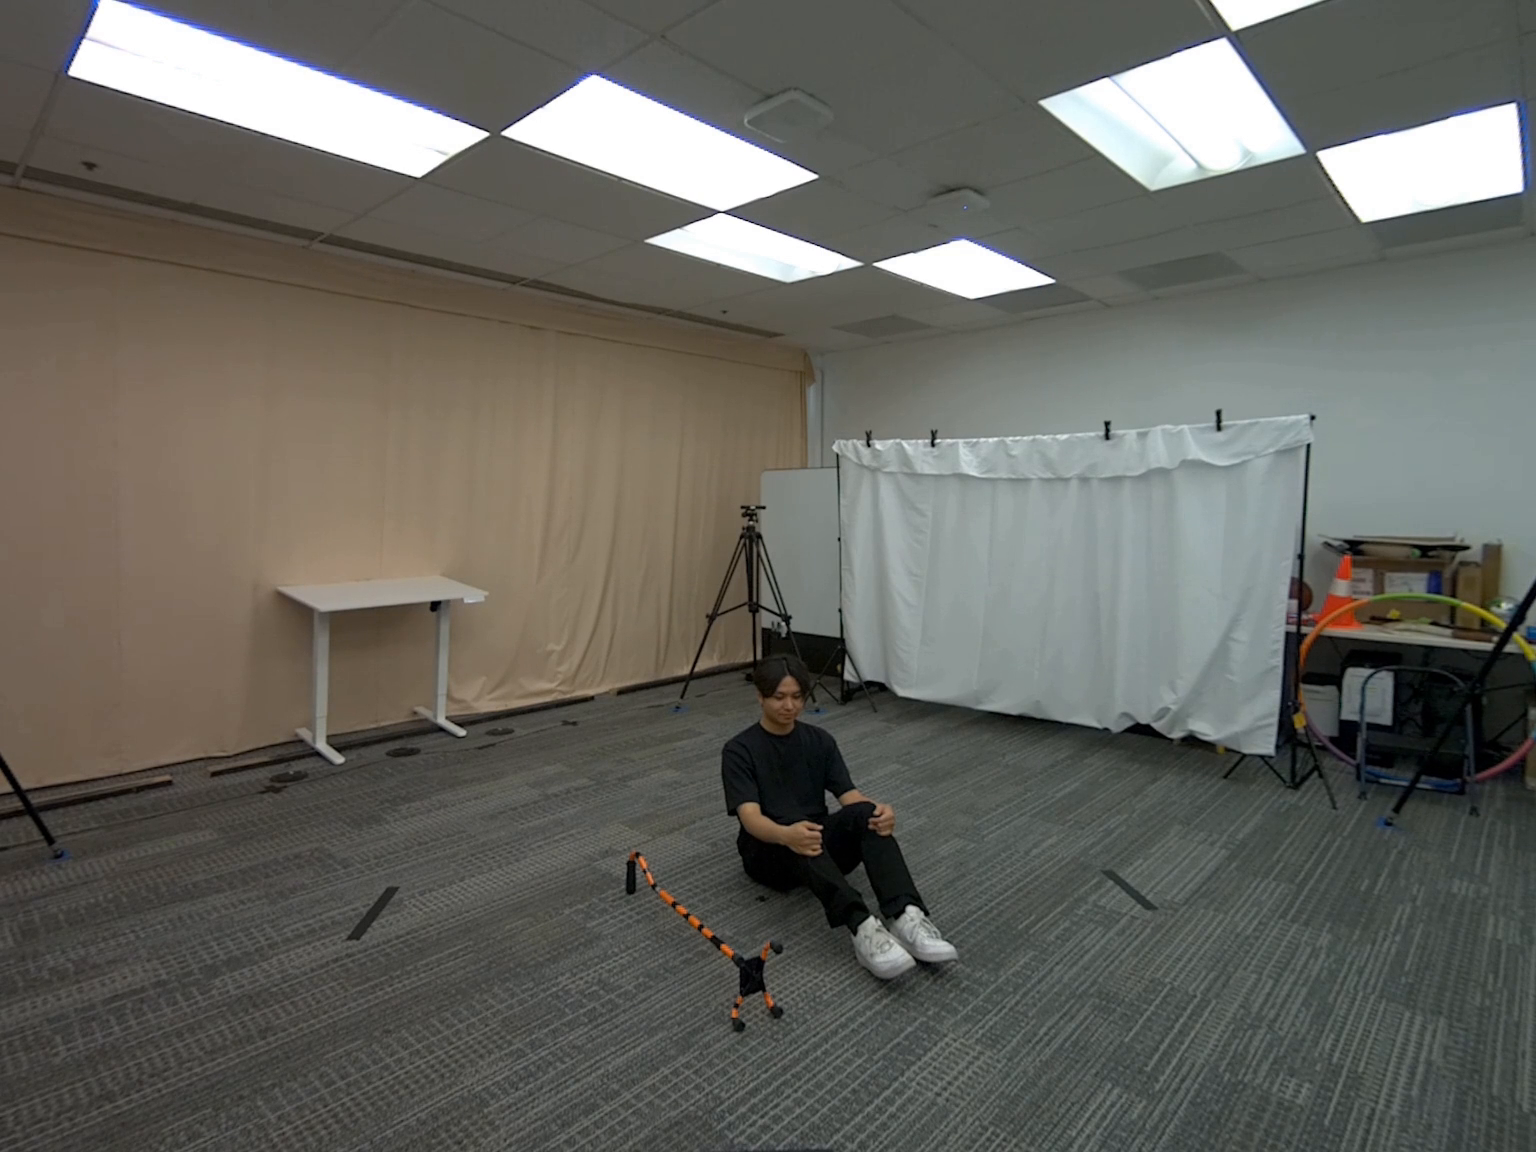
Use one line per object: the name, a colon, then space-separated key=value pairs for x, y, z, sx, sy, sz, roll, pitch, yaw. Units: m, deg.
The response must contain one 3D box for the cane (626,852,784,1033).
cane: x=-0.265 y=1.065 z=2.651 sx=0.147 sy=0.206 sz=0.934 roll=-3 pitch=5 yaw=-30
